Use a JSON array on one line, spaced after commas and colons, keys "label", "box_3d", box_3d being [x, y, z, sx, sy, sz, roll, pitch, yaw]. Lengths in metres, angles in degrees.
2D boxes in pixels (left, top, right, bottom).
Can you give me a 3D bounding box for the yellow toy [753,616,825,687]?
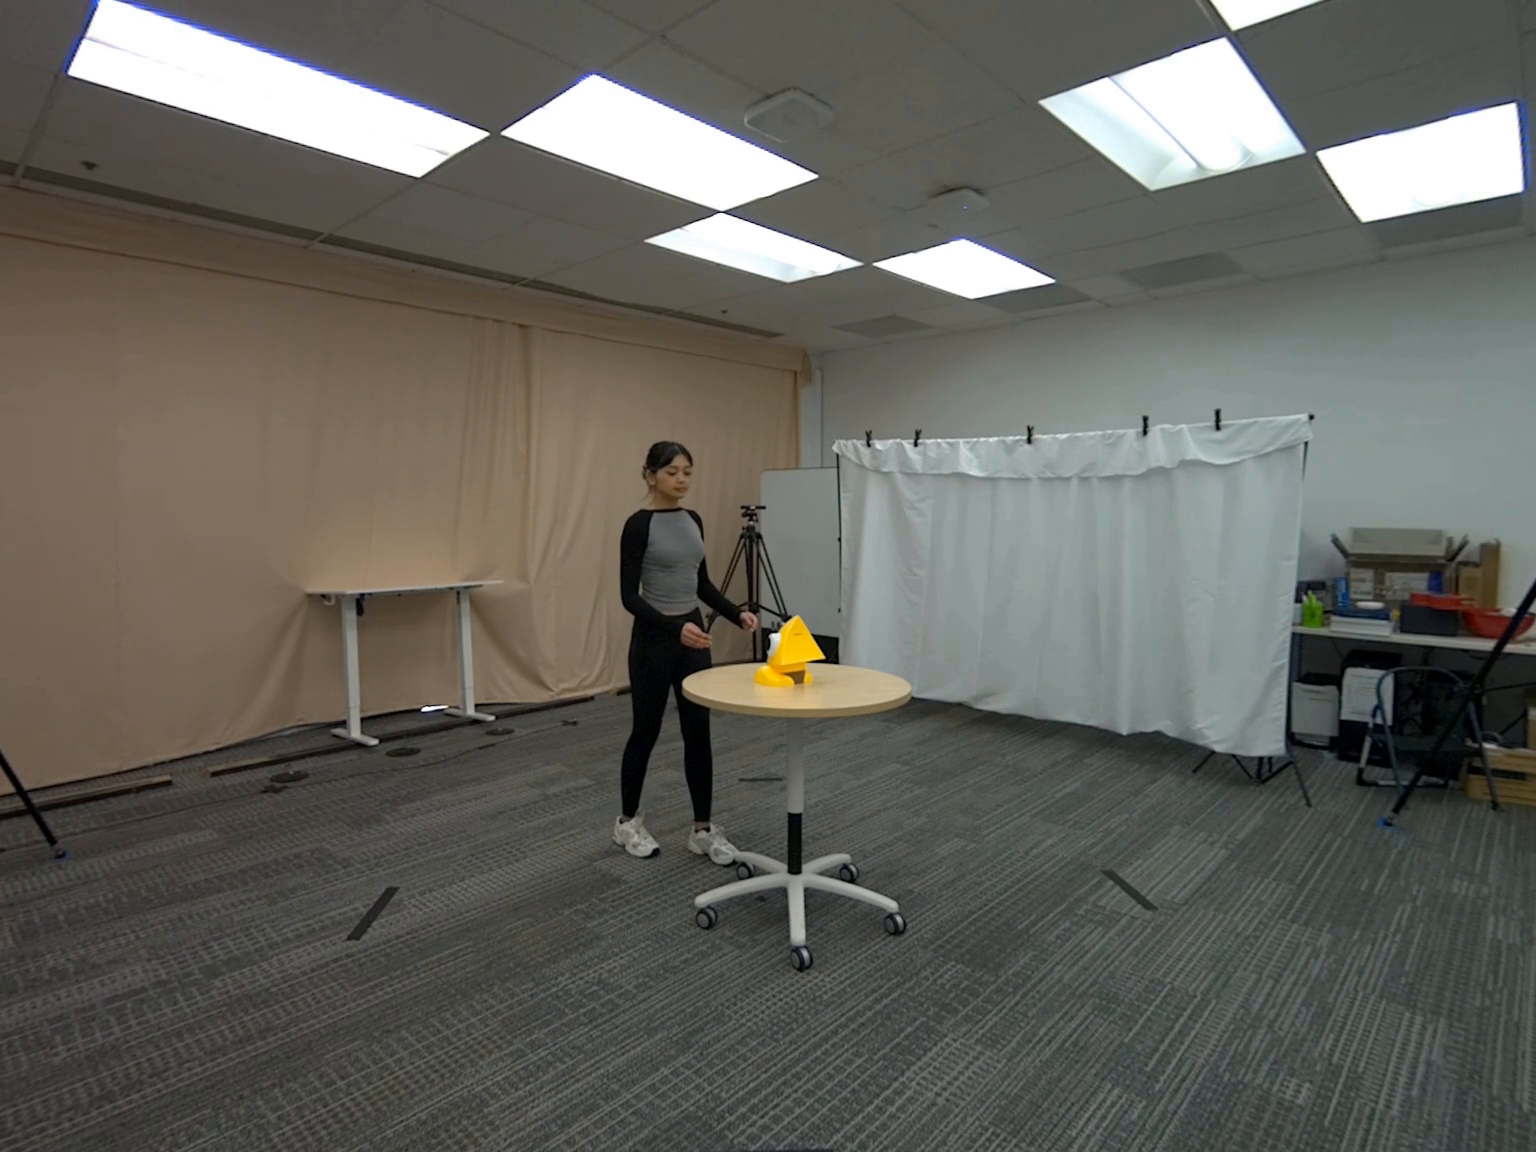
[{"label": "yellow toy", "box_3d": [0.062, 0.246, 2.875, 0.198, 0.230, 0.199, -2, 3, -41]}]
